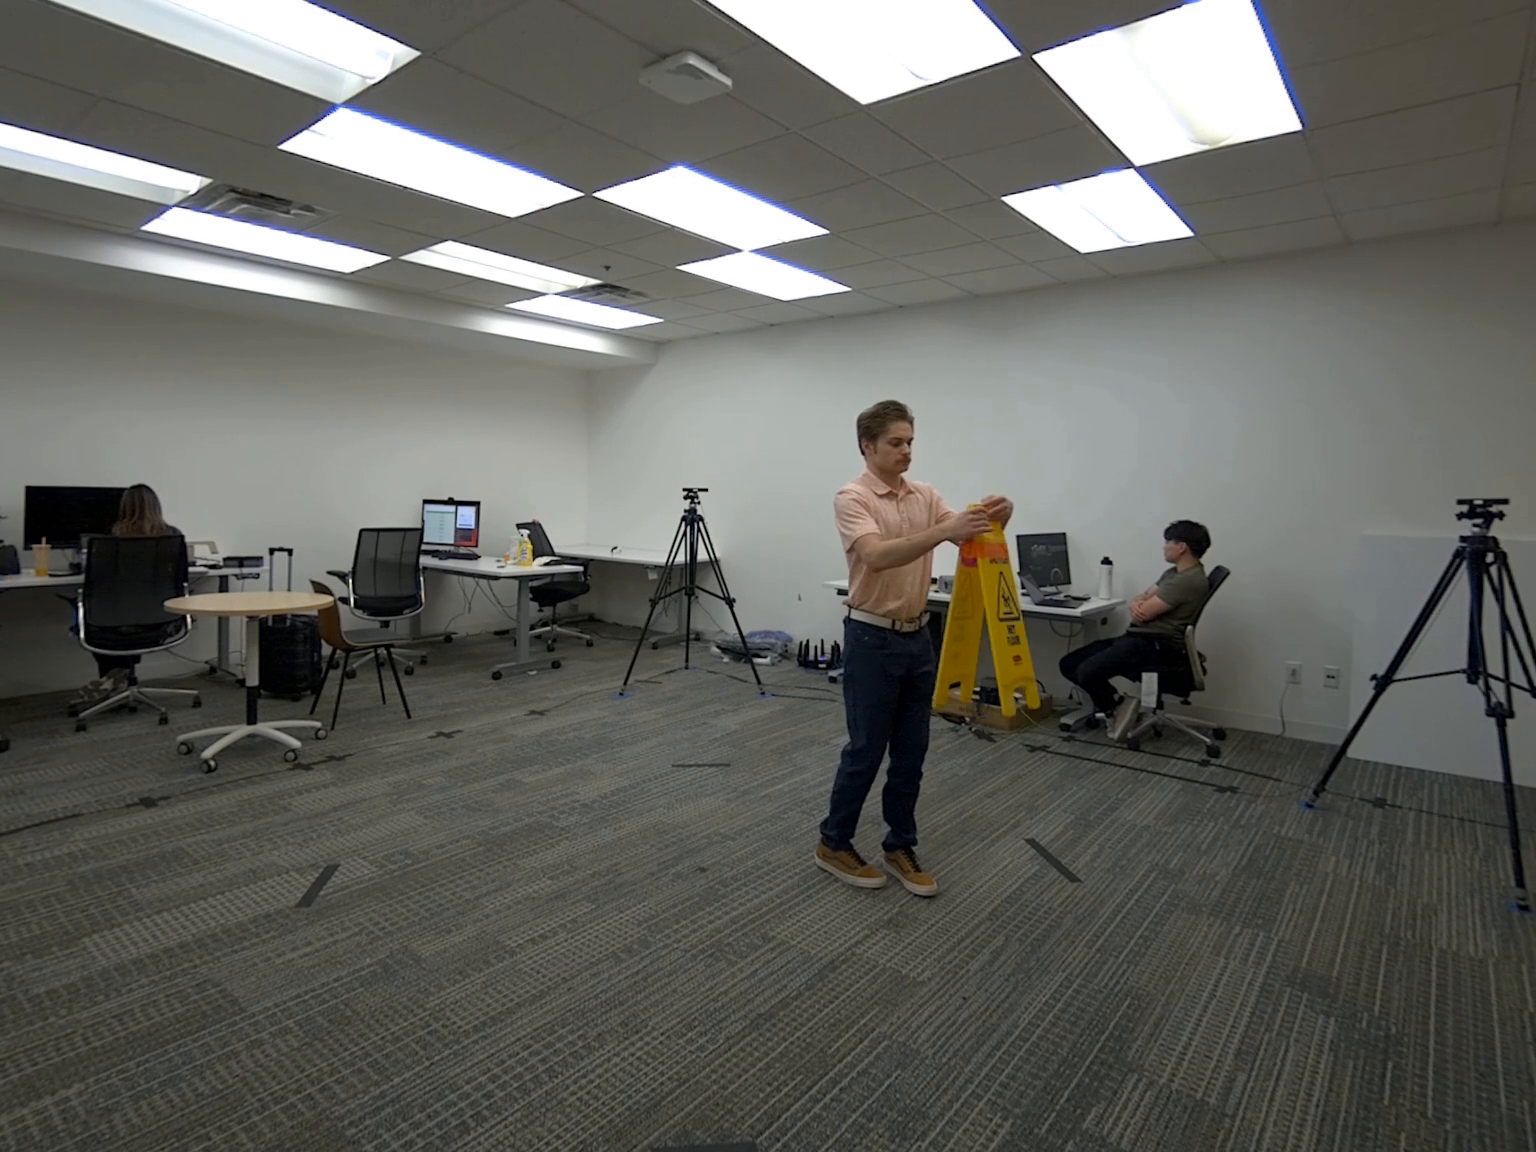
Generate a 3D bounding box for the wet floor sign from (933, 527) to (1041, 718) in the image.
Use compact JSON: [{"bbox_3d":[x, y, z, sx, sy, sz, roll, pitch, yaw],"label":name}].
[{"bbox_3d":[0.687,0.096,2.739,0.298,0.648,0.273,-3,-4,37],"label":"wet floor sign"}]
